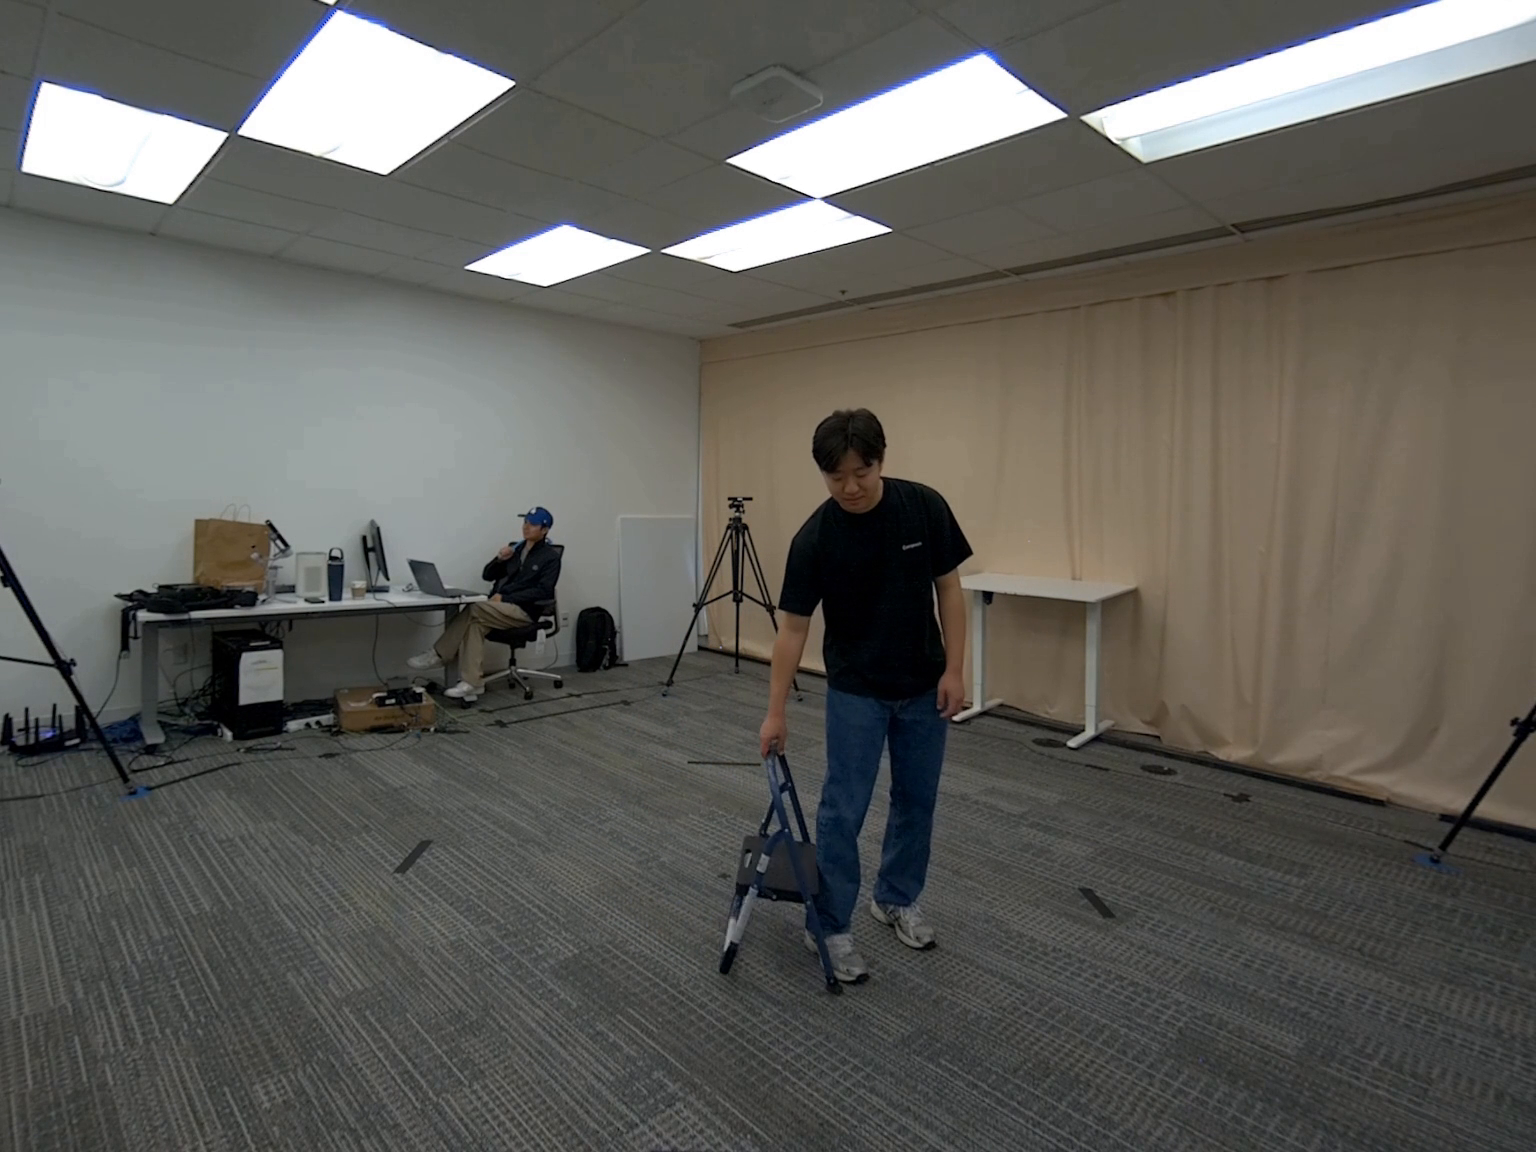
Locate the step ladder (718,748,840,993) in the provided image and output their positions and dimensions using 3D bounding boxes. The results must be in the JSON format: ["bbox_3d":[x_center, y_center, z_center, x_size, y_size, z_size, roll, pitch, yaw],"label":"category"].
[{"bbox_3d":[0.041,0.835,2.562,0.350,0.604,0.431,6,4,2],"label":"step ladder"}]
